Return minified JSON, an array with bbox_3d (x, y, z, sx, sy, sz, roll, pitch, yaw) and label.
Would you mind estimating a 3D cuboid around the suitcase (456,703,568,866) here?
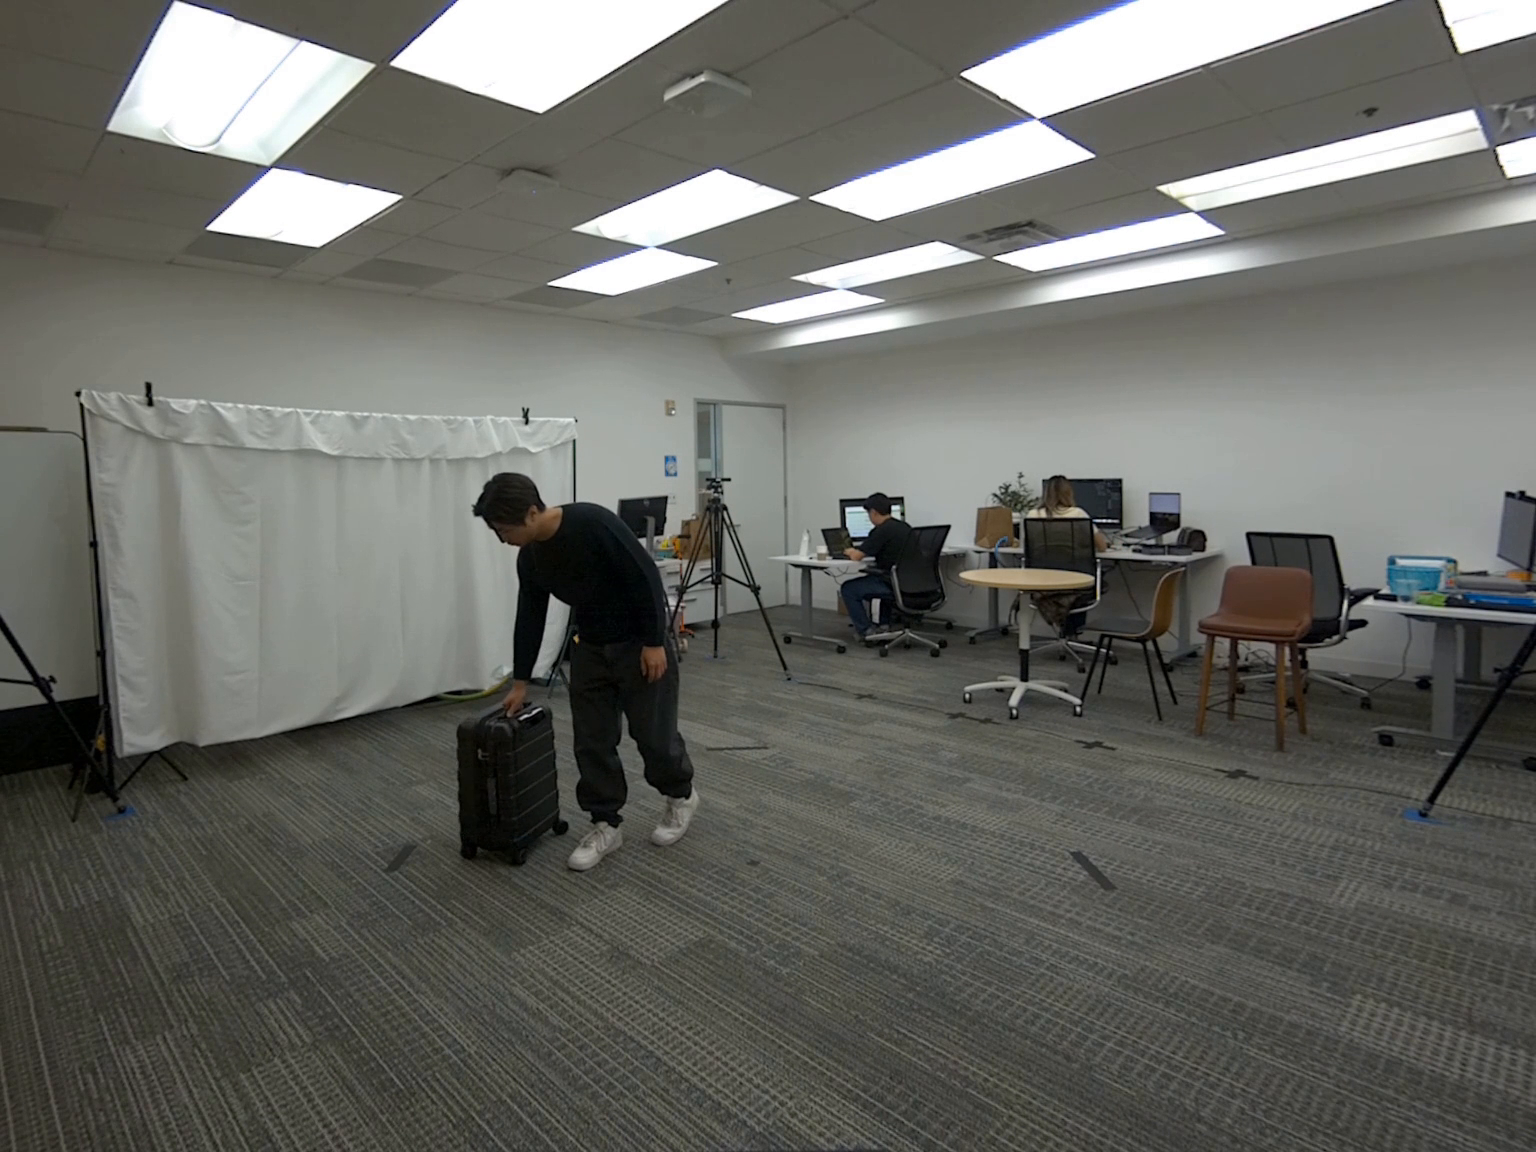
[{"bbox_3d":[-0.989,0.768,3.267,0.253,0.547,0.371,-1,6,18],"label":"suitcase"}]
